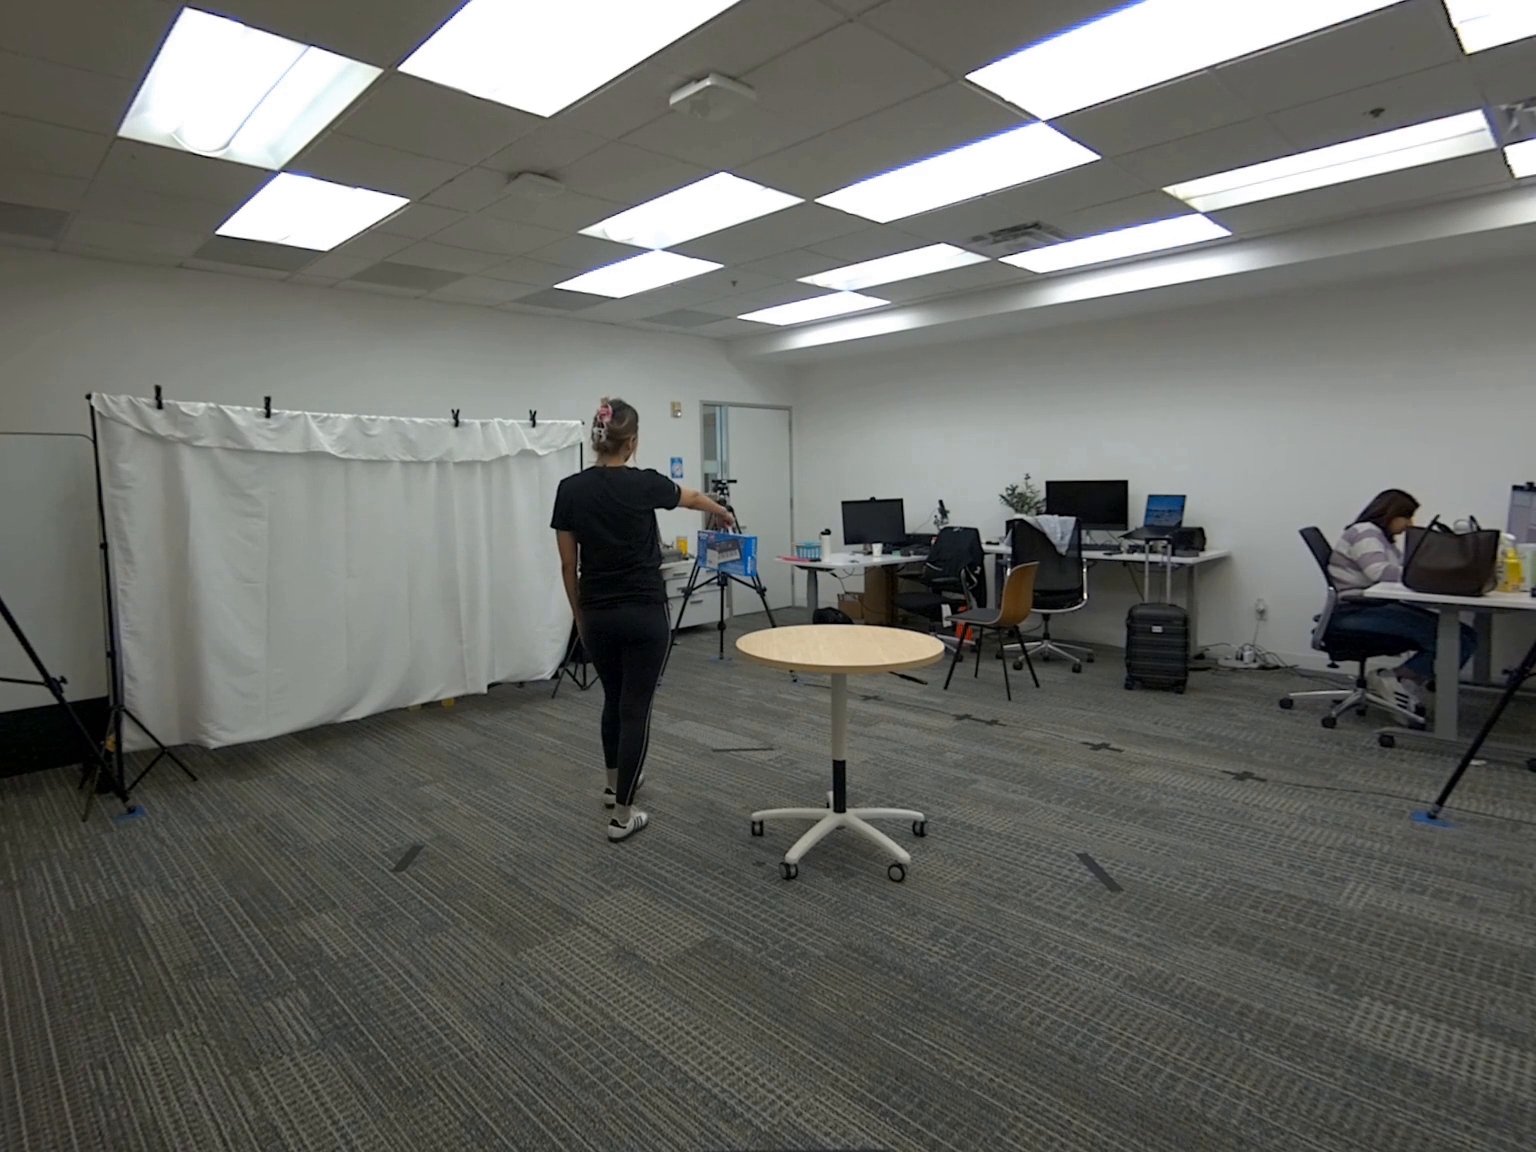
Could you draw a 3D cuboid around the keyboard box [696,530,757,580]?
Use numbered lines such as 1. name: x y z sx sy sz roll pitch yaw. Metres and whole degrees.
1. keyboard box: -0.189 -0.105 3.851 0.057 0.175 0.450 0 6 -32
